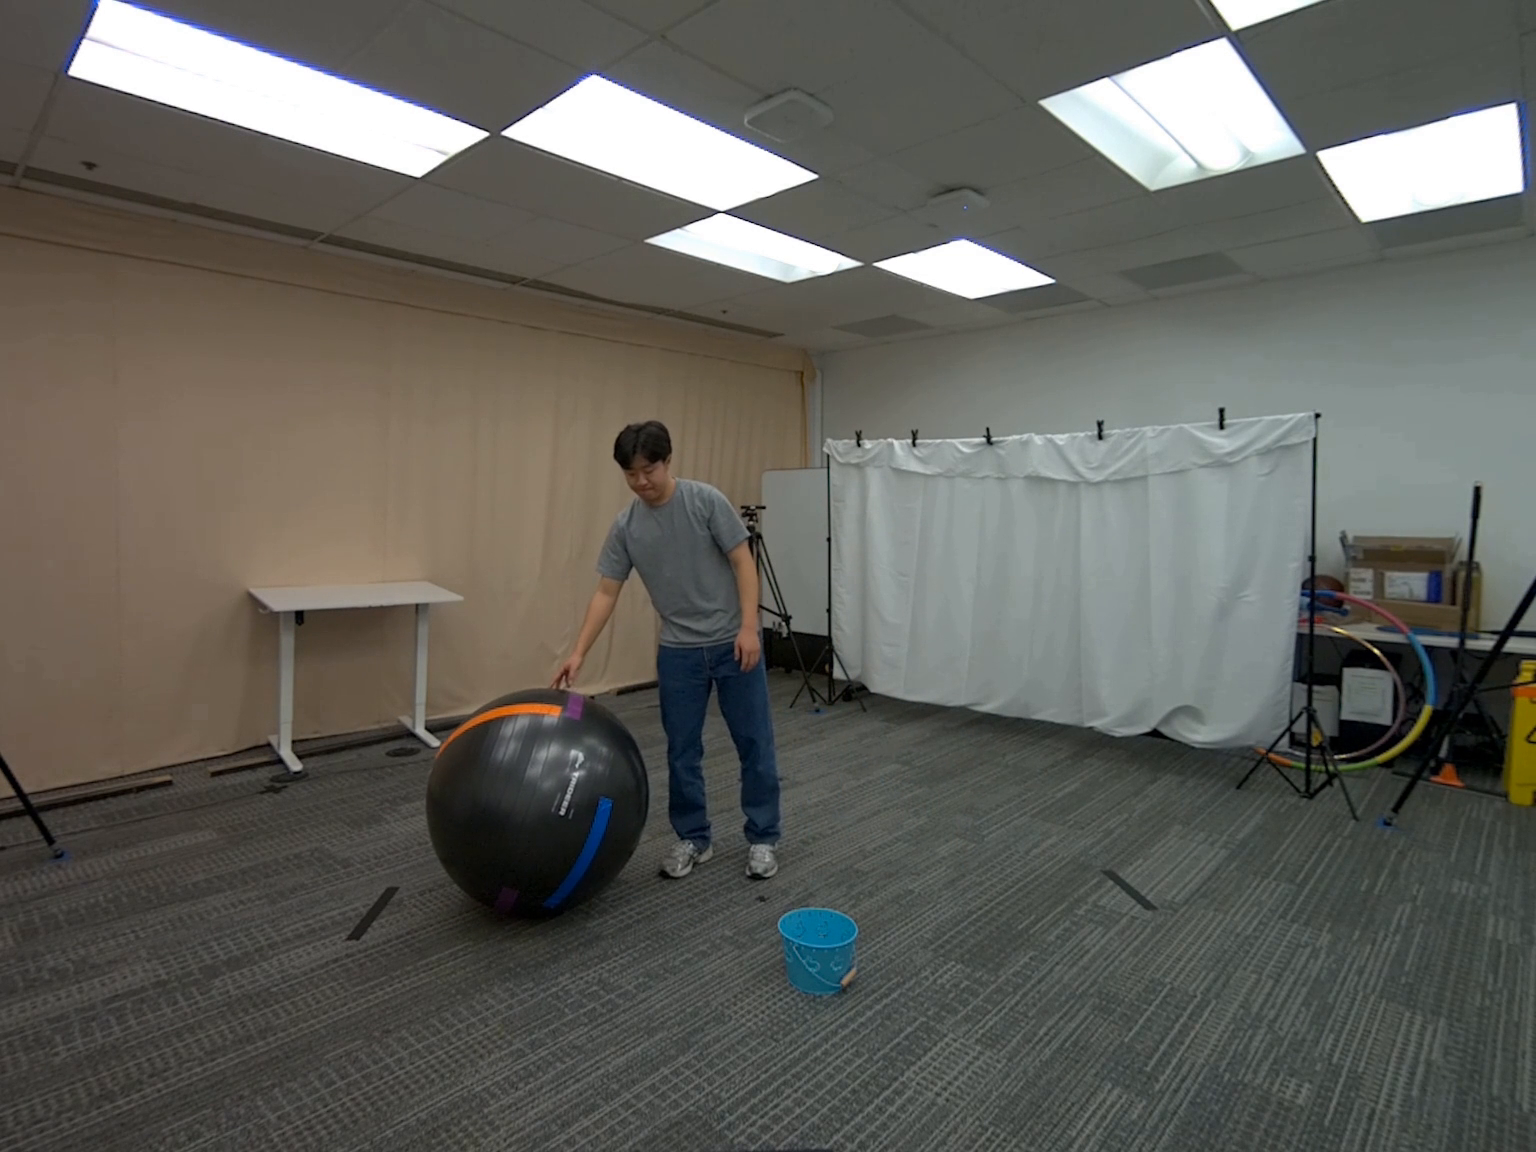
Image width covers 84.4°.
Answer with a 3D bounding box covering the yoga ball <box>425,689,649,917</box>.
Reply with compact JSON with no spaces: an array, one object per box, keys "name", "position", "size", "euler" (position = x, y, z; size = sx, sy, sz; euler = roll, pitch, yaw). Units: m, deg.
[{"name":"yoga ball","position":[-0.809,0.782,2.947],"size":[0.757,0.756,0.760],"euler":[0,4,-2]}]
